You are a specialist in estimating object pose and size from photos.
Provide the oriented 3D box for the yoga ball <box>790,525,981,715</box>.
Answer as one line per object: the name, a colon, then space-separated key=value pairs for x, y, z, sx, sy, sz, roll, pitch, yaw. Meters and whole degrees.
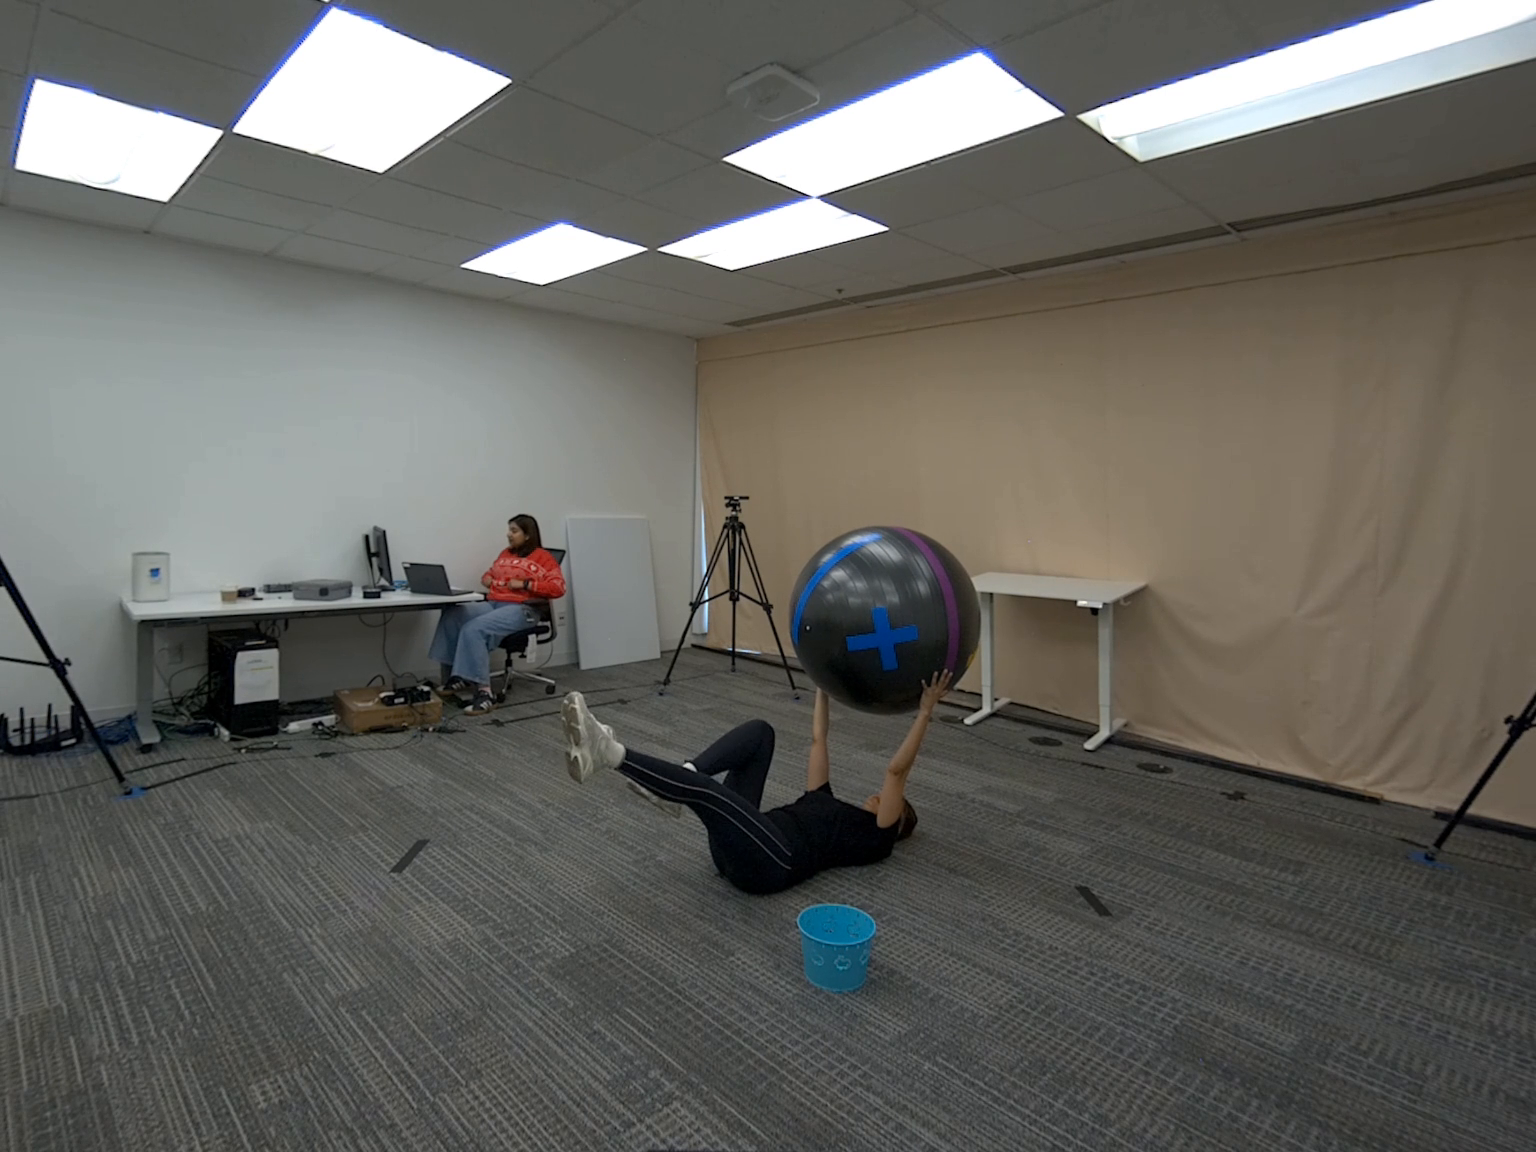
yoga ball: x=0.460 y=0.177 z=3.385 sx=0.757 sy=0.754 sz=0.762 roll=0 pitch=7 yaw=-1
